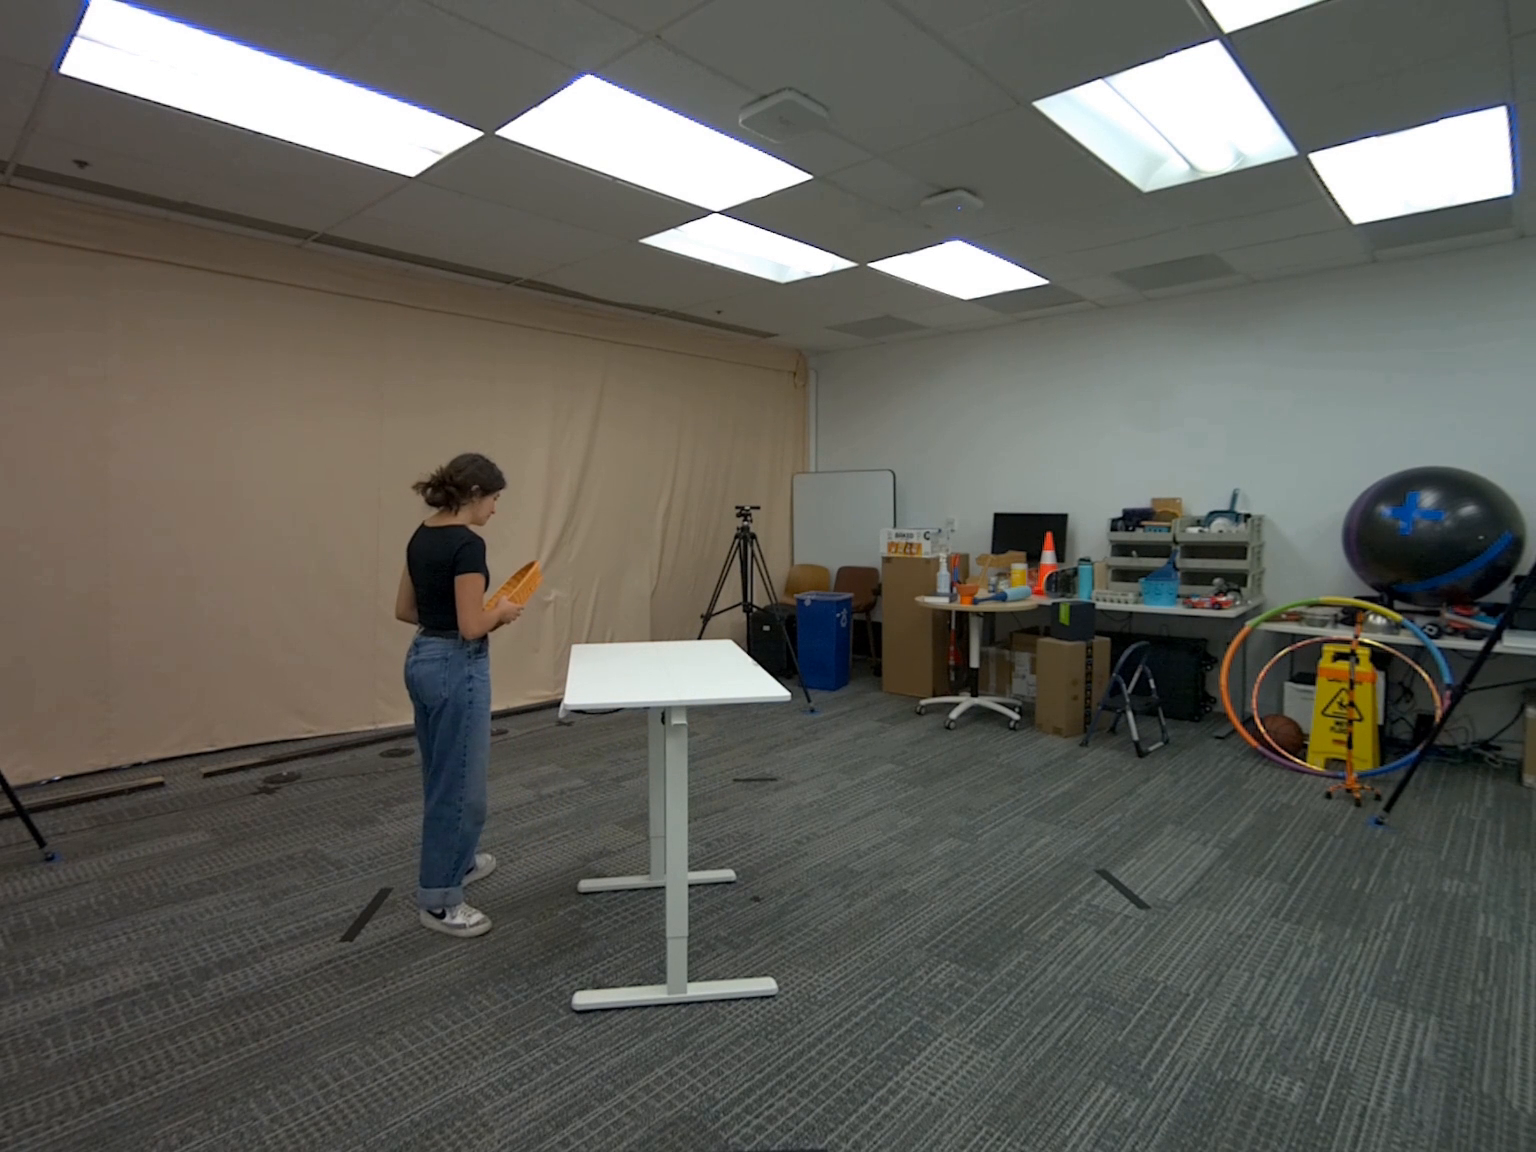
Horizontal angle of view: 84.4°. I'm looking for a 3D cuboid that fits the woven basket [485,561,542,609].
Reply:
[{"bbox_3d":[-0.951,0.082,3.128,0.258,0.072,0.351,-24,27,39],"label":"woven basket"}]
